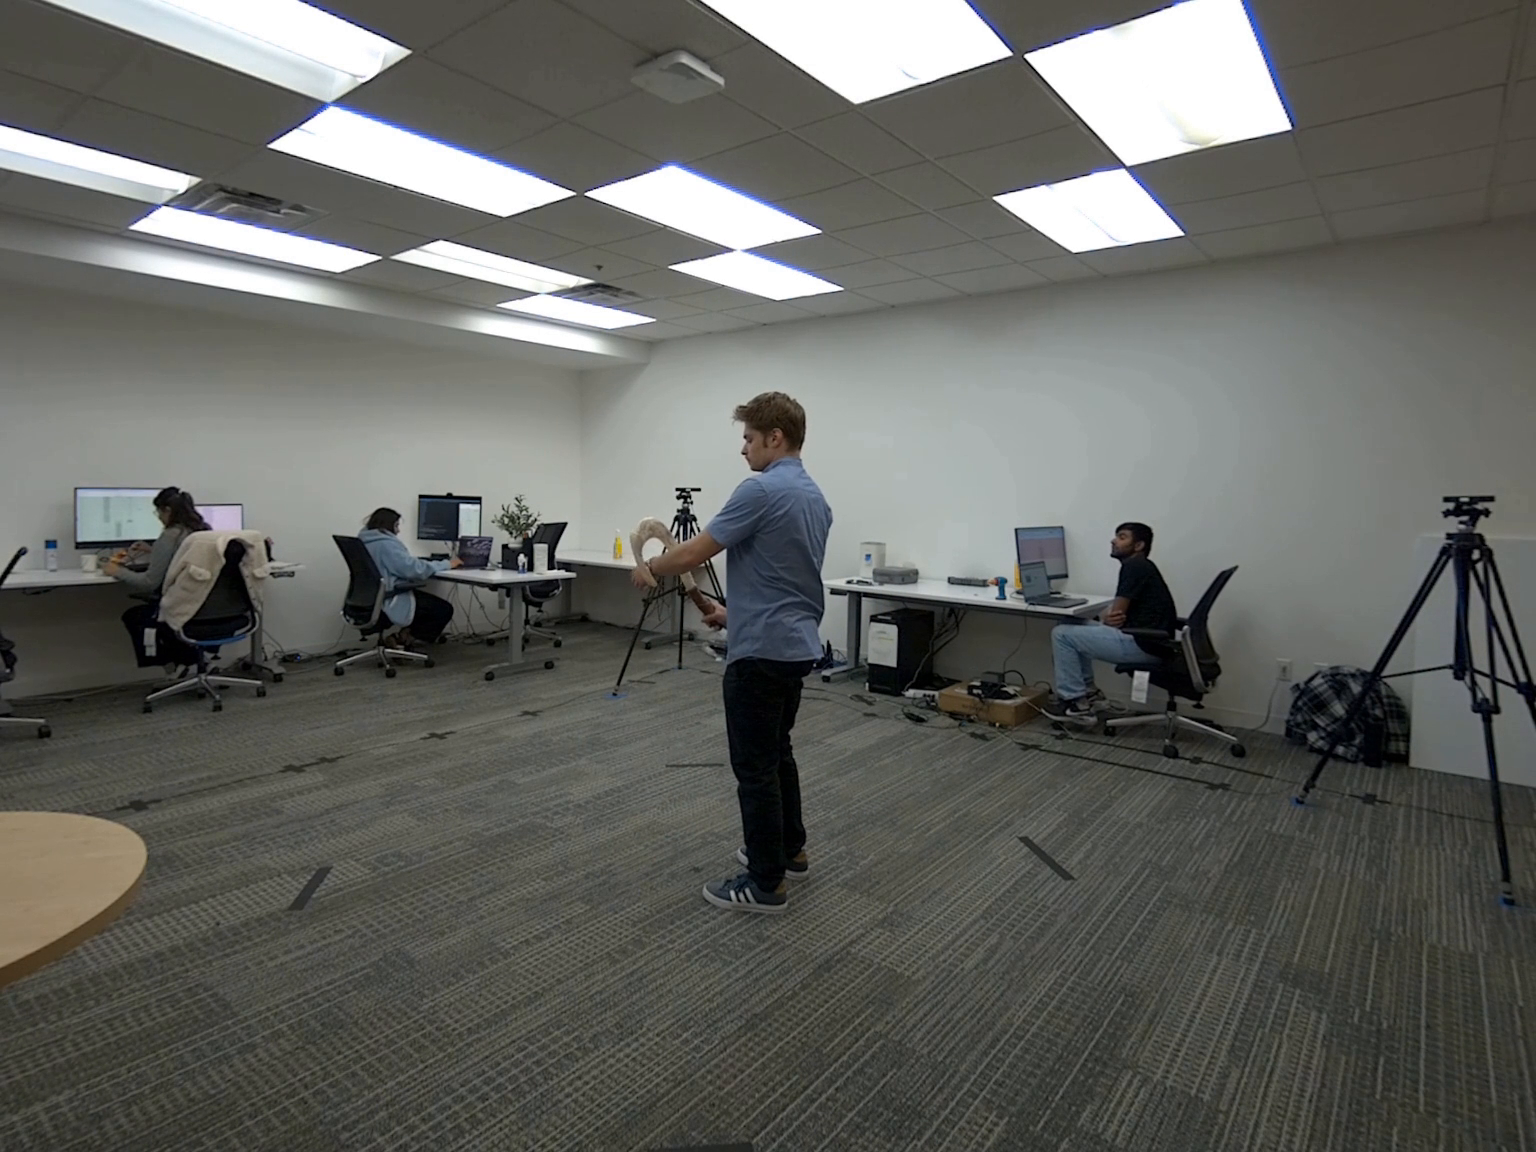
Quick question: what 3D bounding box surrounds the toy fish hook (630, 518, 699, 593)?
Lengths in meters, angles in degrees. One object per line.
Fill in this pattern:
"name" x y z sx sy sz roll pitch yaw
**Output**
"toy fish hook" -0.332 0.029 2.945 0.049 0.494 0.225 -14 27 41
